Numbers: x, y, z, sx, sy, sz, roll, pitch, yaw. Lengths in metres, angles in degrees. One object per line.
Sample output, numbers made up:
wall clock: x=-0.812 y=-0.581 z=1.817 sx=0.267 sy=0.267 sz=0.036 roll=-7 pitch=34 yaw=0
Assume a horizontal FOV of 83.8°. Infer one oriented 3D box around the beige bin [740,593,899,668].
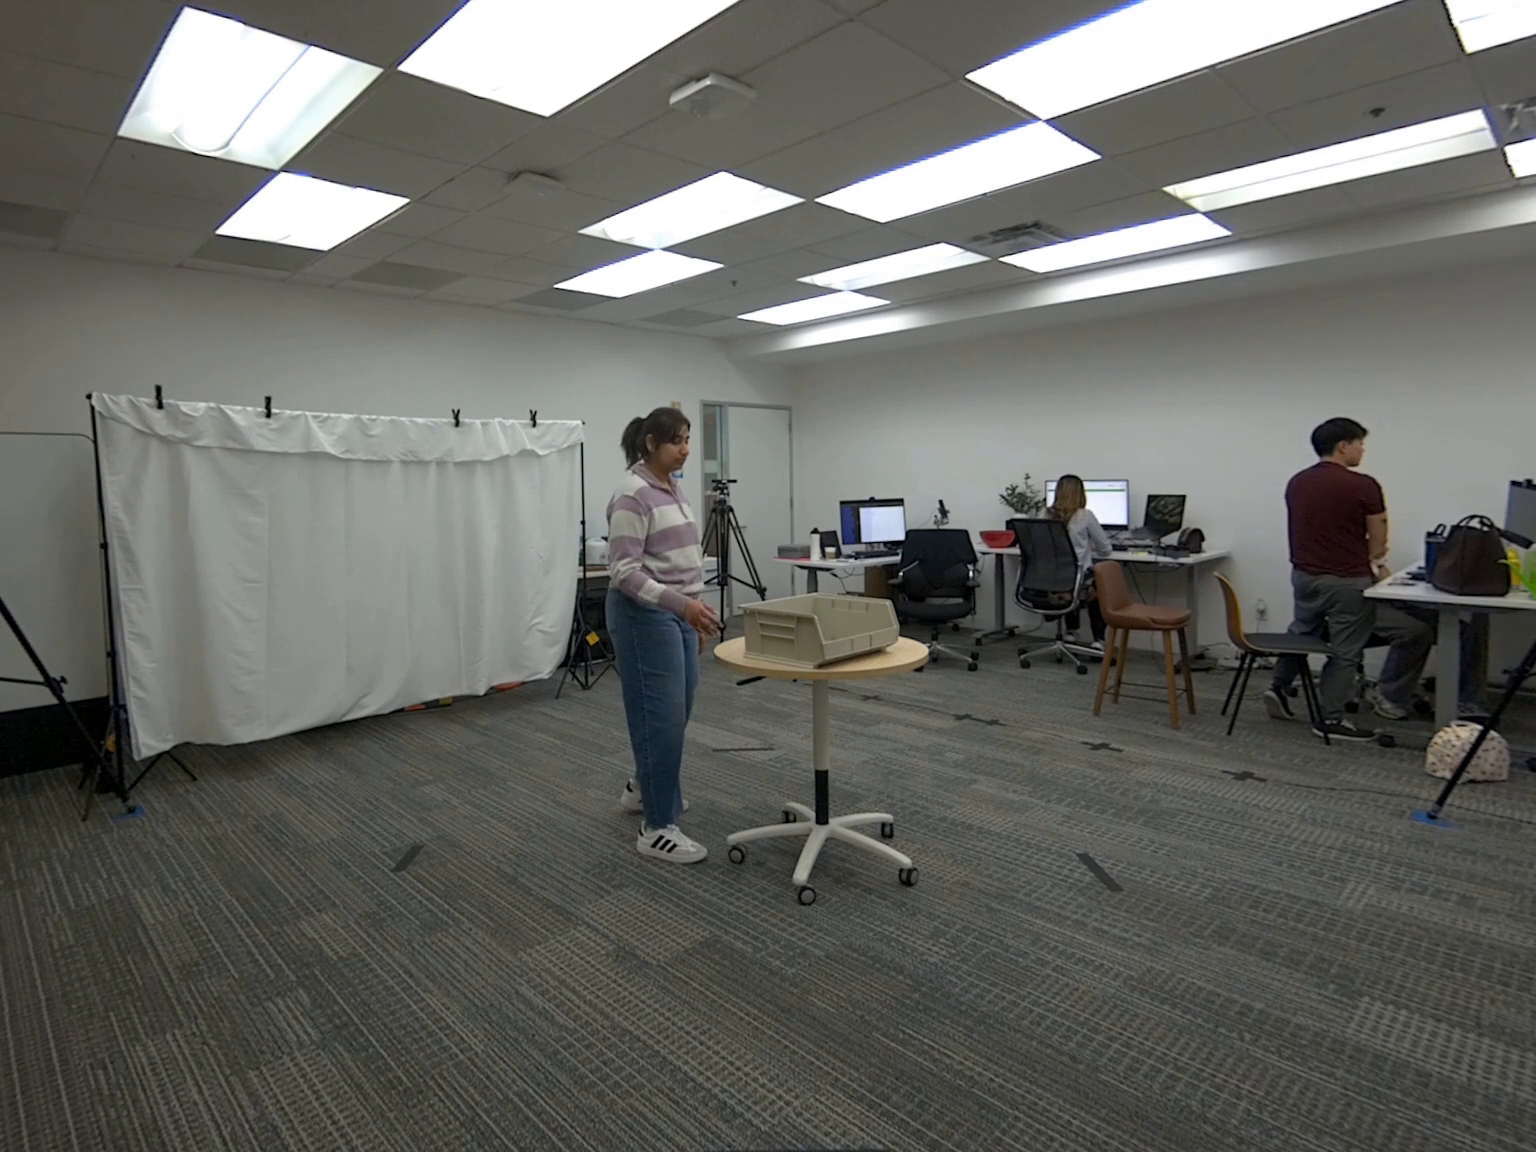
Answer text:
beige bin: x=0.183 y=0.186 z=2.964 sx=0.411 sy=0.188 sz=0.388 roll=-8 pitch=7 yaw=-44
